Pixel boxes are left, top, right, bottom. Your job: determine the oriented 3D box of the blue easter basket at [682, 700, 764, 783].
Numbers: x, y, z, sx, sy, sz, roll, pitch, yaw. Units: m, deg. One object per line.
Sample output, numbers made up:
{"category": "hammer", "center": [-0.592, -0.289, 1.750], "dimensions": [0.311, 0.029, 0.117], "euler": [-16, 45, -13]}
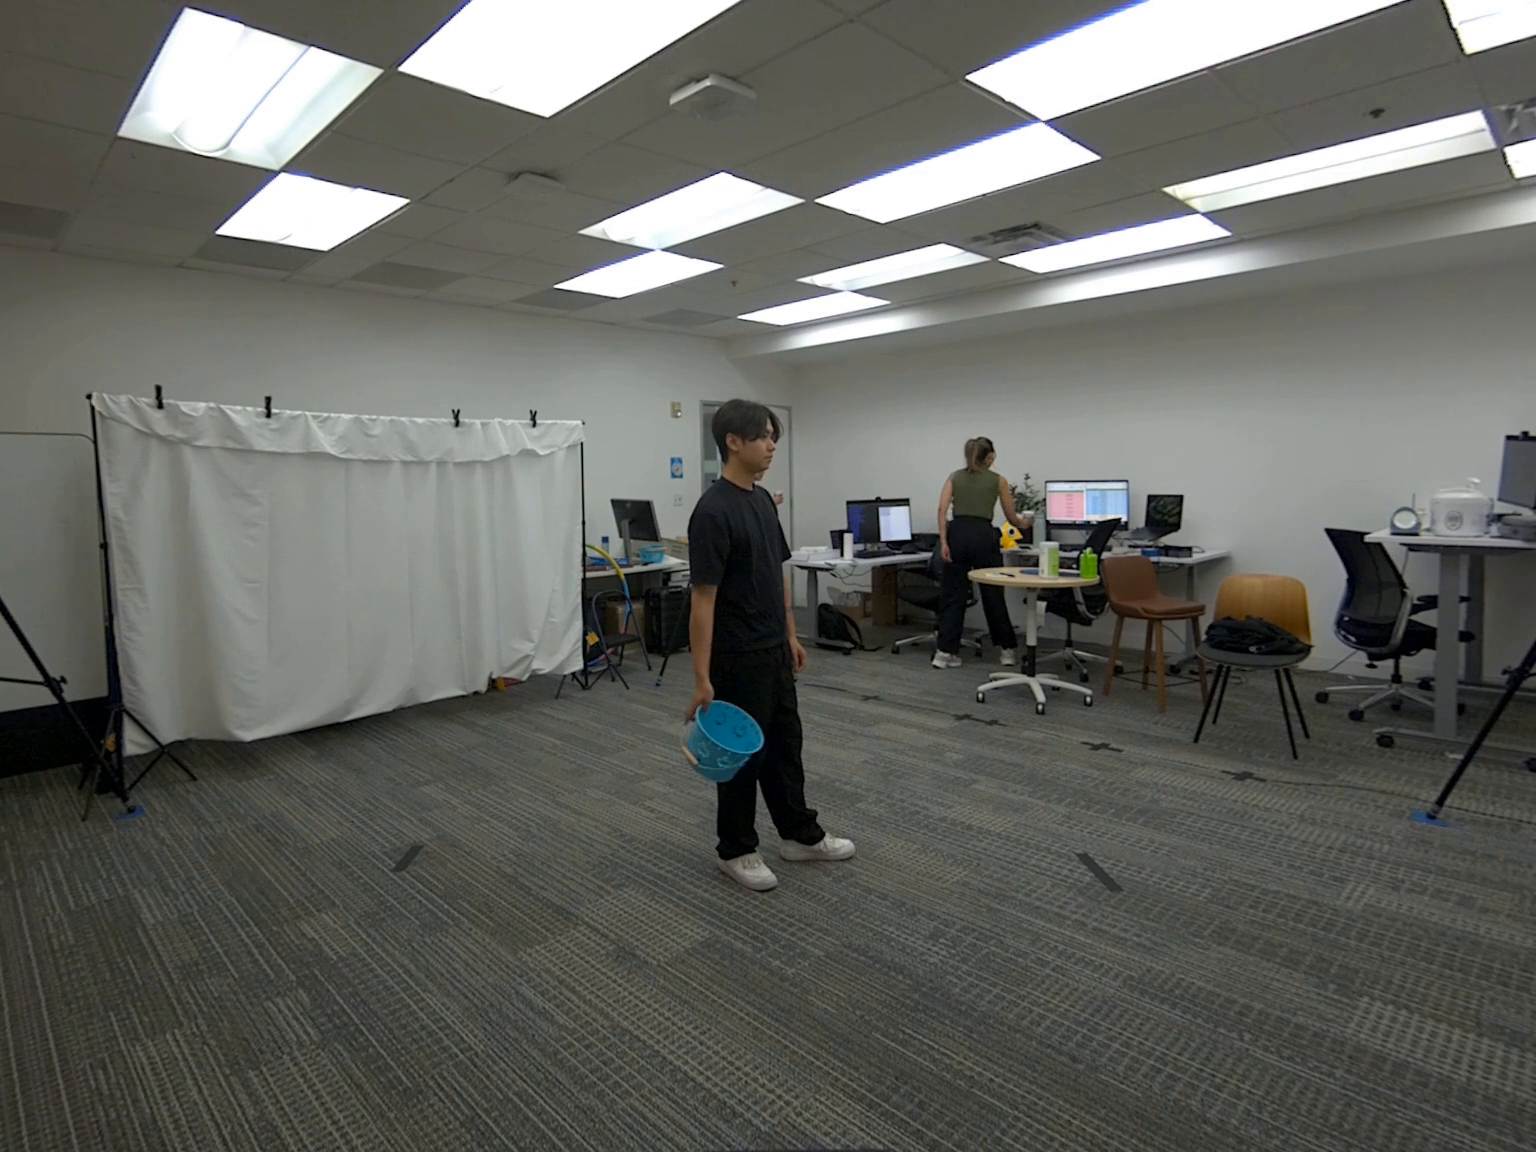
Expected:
{"category": "blue easter basket", "center": [-0.154, 0.521, 2.712], "dimensions": [0.240, 0.155, 0.249], "euler": [23, 24, -13]}
